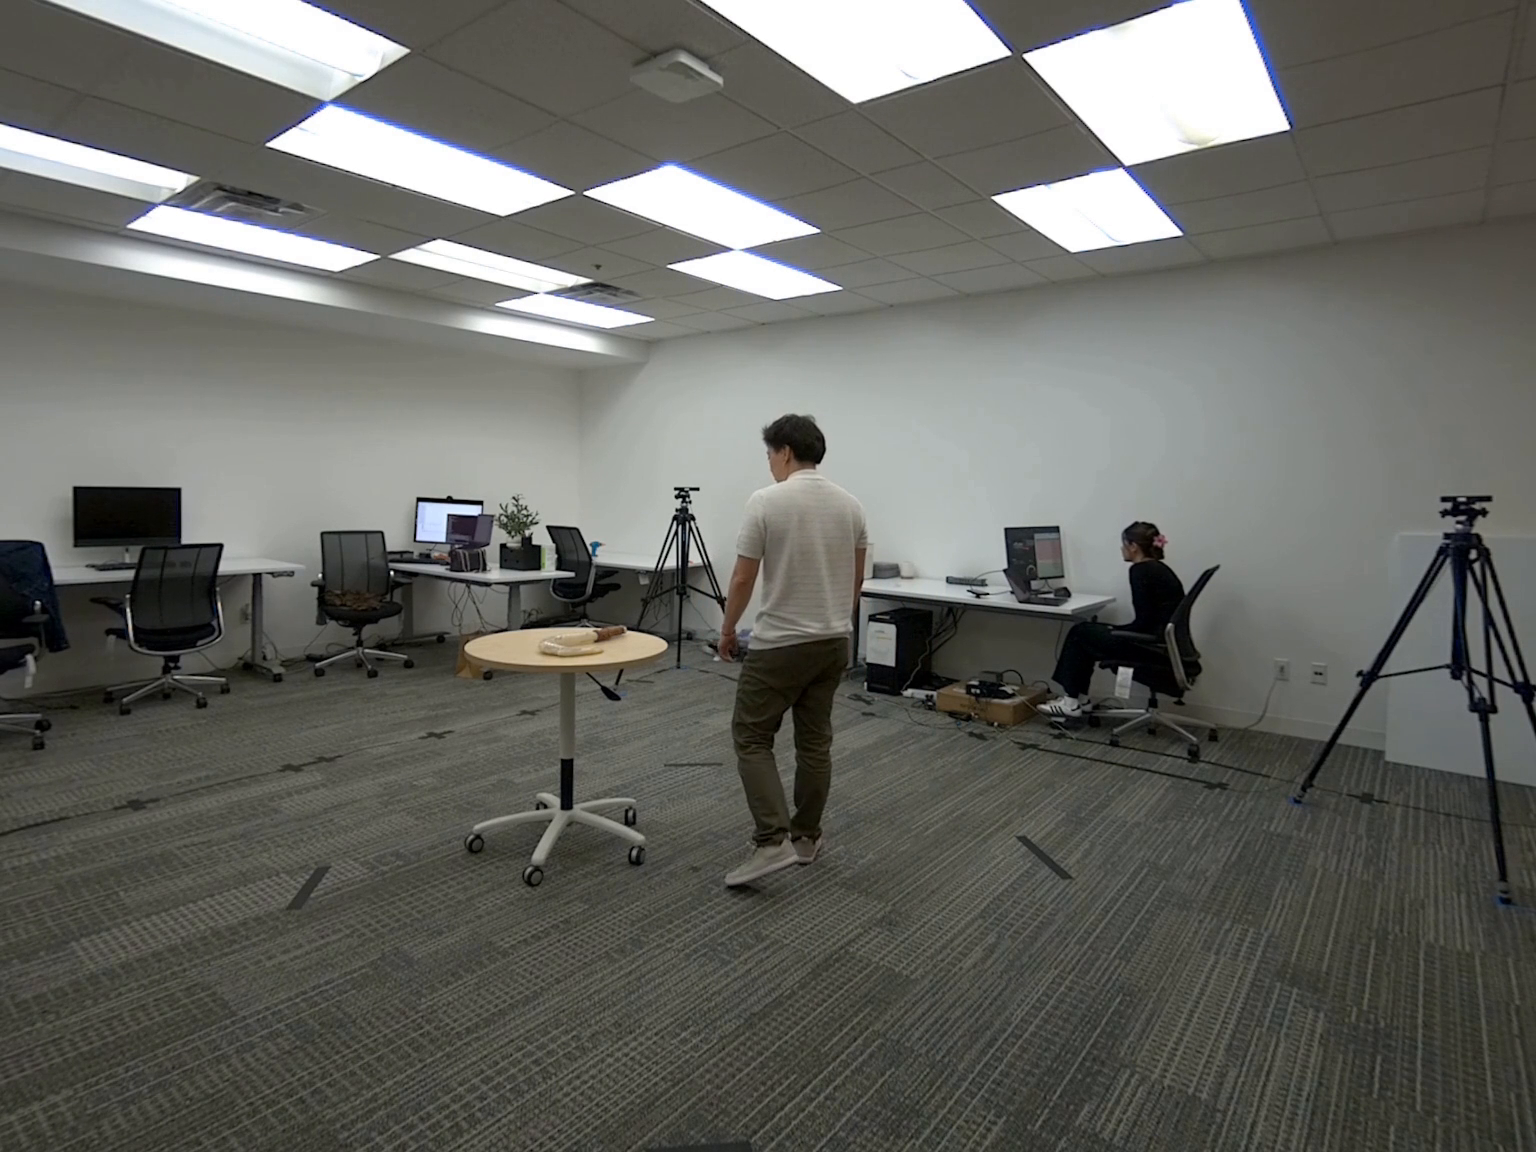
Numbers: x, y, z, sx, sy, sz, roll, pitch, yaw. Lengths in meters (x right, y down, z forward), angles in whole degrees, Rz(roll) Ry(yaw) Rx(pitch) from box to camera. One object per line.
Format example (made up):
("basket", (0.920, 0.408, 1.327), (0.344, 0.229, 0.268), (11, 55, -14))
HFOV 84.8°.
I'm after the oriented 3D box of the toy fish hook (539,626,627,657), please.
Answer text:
("toy fish hook", (-0.675, 0.251, 3.268), (0.232, 0.048, 0.494), (14, 12, 27))
